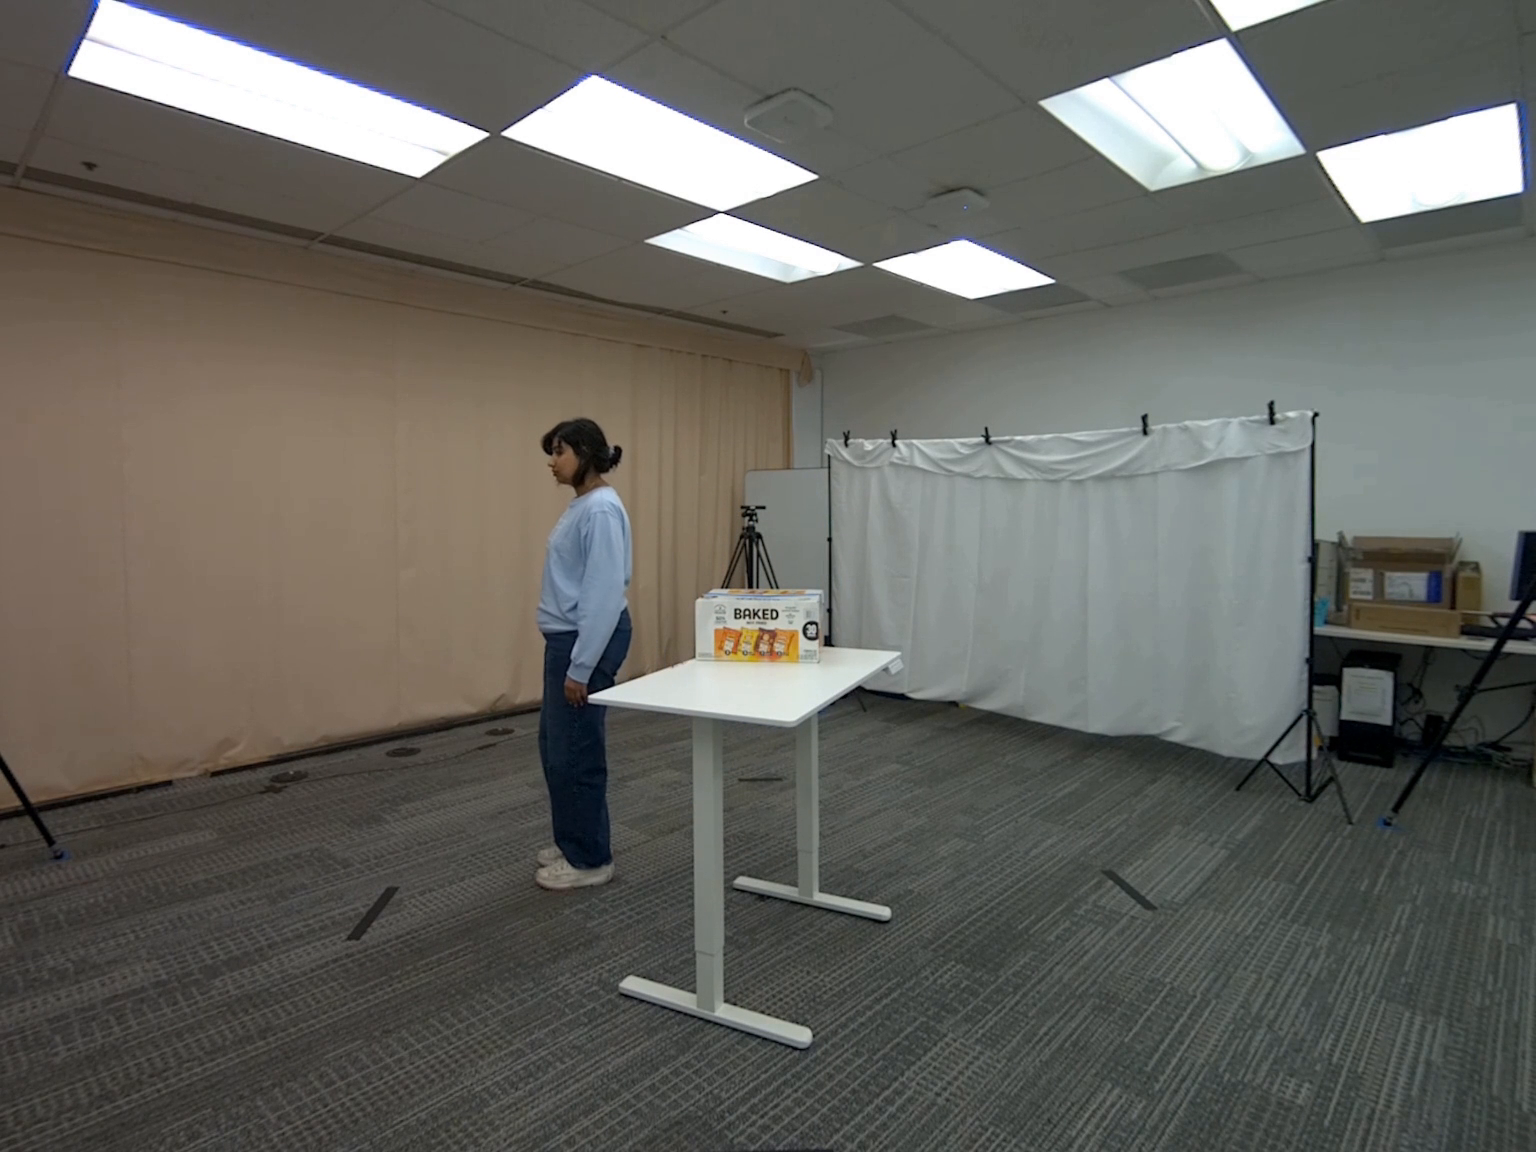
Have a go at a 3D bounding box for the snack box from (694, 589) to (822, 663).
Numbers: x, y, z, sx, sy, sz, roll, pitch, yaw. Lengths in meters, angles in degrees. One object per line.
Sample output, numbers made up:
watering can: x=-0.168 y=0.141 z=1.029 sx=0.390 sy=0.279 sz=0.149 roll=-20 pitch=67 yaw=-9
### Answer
snack box: x=-0.012 y=0.165 z=2.907 sx=0.409 sy=0.205 sz=0.338 roll=0 pitch=4 yaw=8
